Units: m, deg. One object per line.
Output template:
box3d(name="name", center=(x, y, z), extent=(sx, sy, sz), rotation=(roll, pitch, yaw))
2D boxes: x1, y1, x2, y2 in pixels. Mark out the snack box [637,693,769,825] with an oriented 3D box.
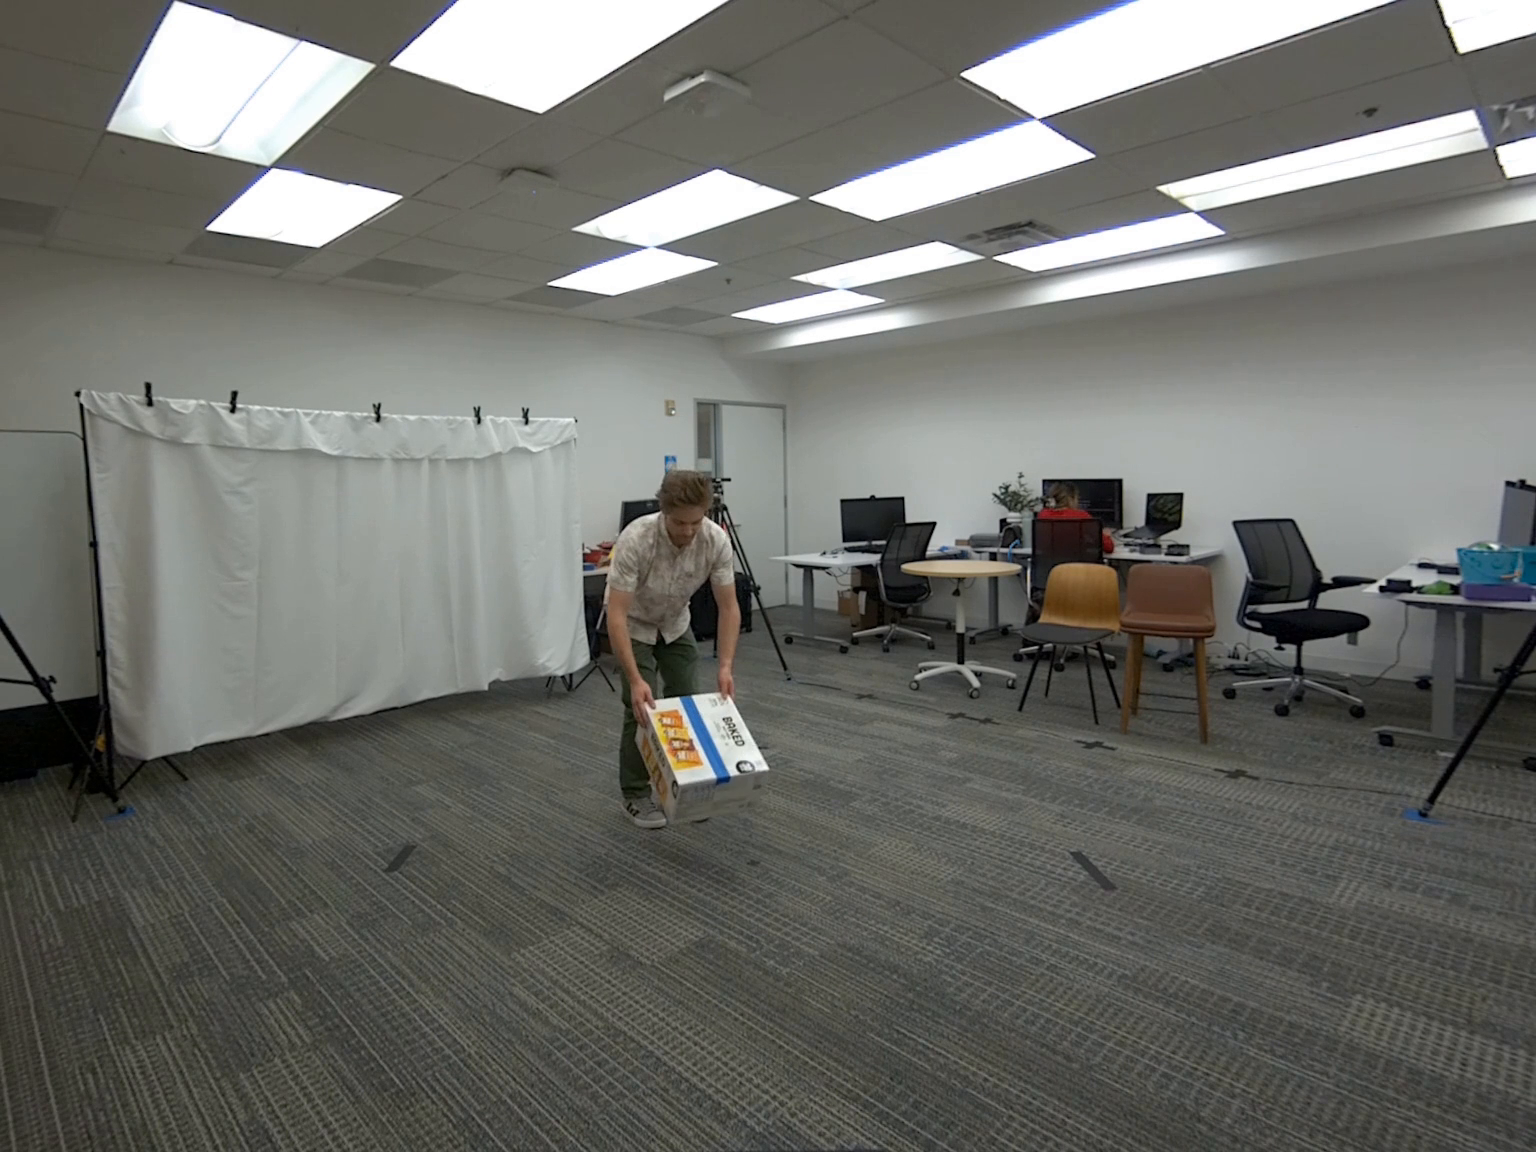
box3d(name="snack box", center=(-0.244, 0.647, 3.096), extent=(0.333, 0.202, 0.421), rotation=(-4, 36, -25))
